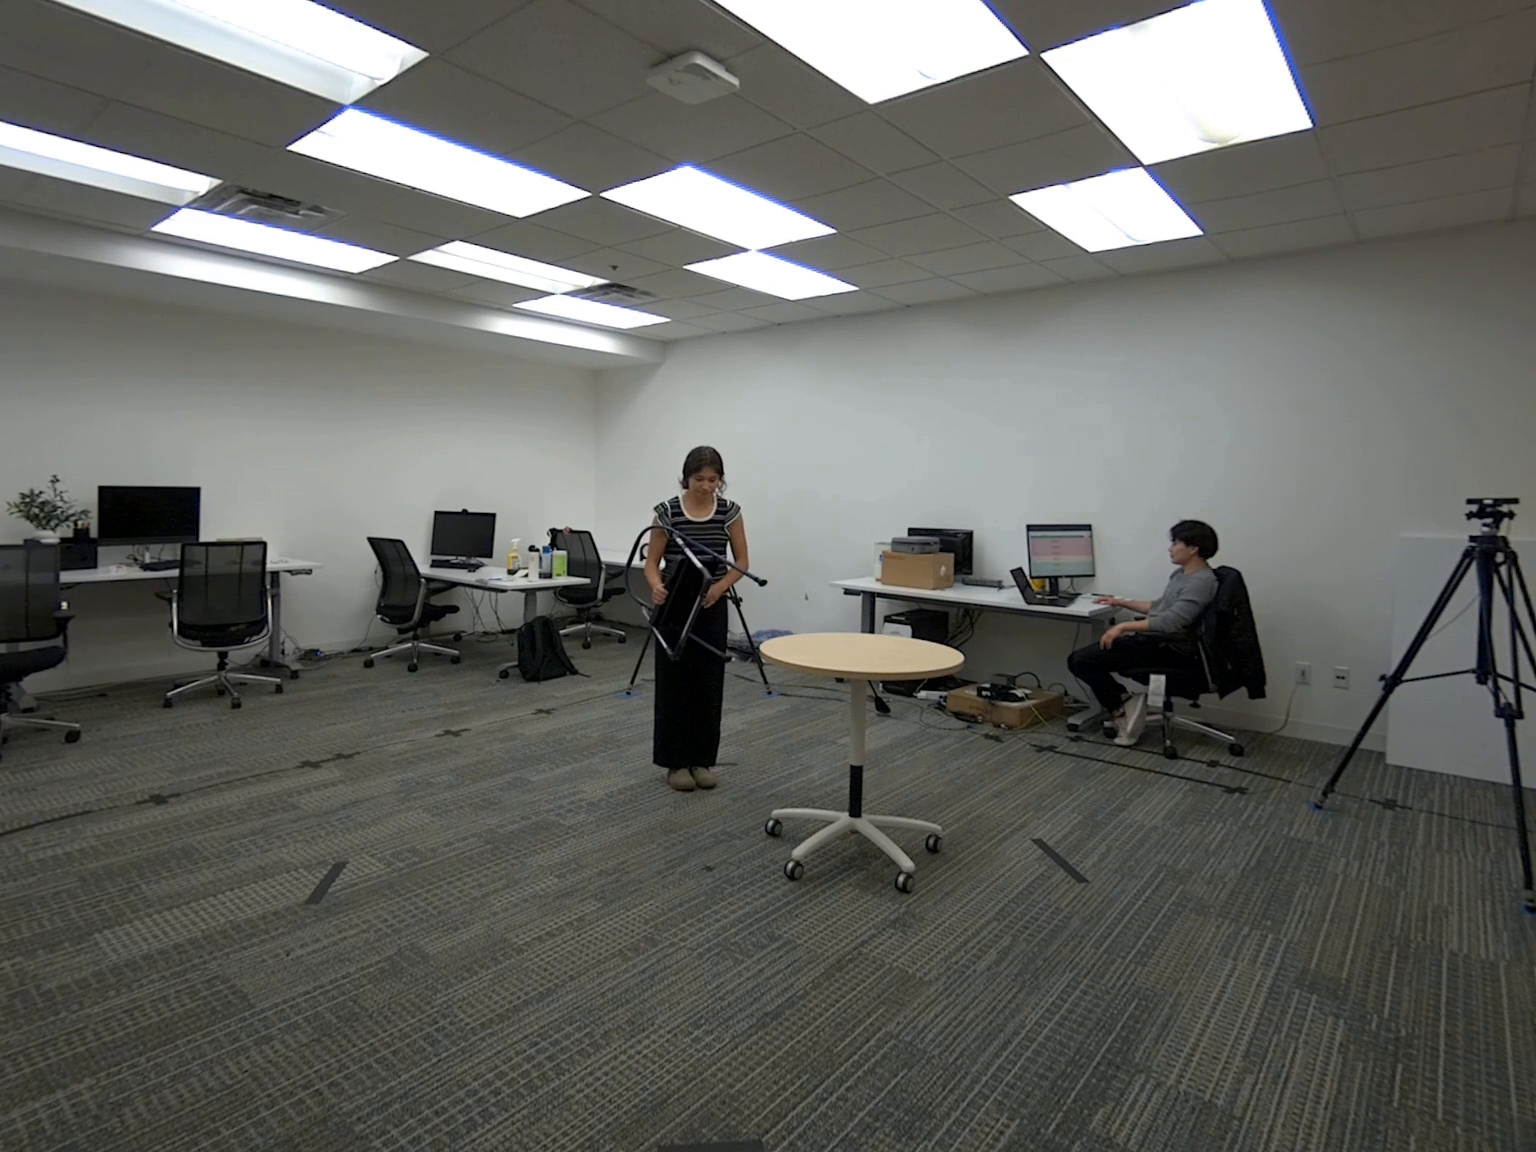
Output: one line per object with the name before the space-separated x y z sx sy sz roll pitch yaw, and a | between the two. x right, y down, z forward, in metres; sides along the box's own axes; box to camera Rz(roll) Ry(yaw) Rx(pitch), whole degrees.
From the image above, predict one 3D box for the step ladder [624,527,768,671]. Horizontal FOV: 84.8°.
step ladder | -0.408 0.039 3.841 0.337 0.427 0.632 6 25 -46
